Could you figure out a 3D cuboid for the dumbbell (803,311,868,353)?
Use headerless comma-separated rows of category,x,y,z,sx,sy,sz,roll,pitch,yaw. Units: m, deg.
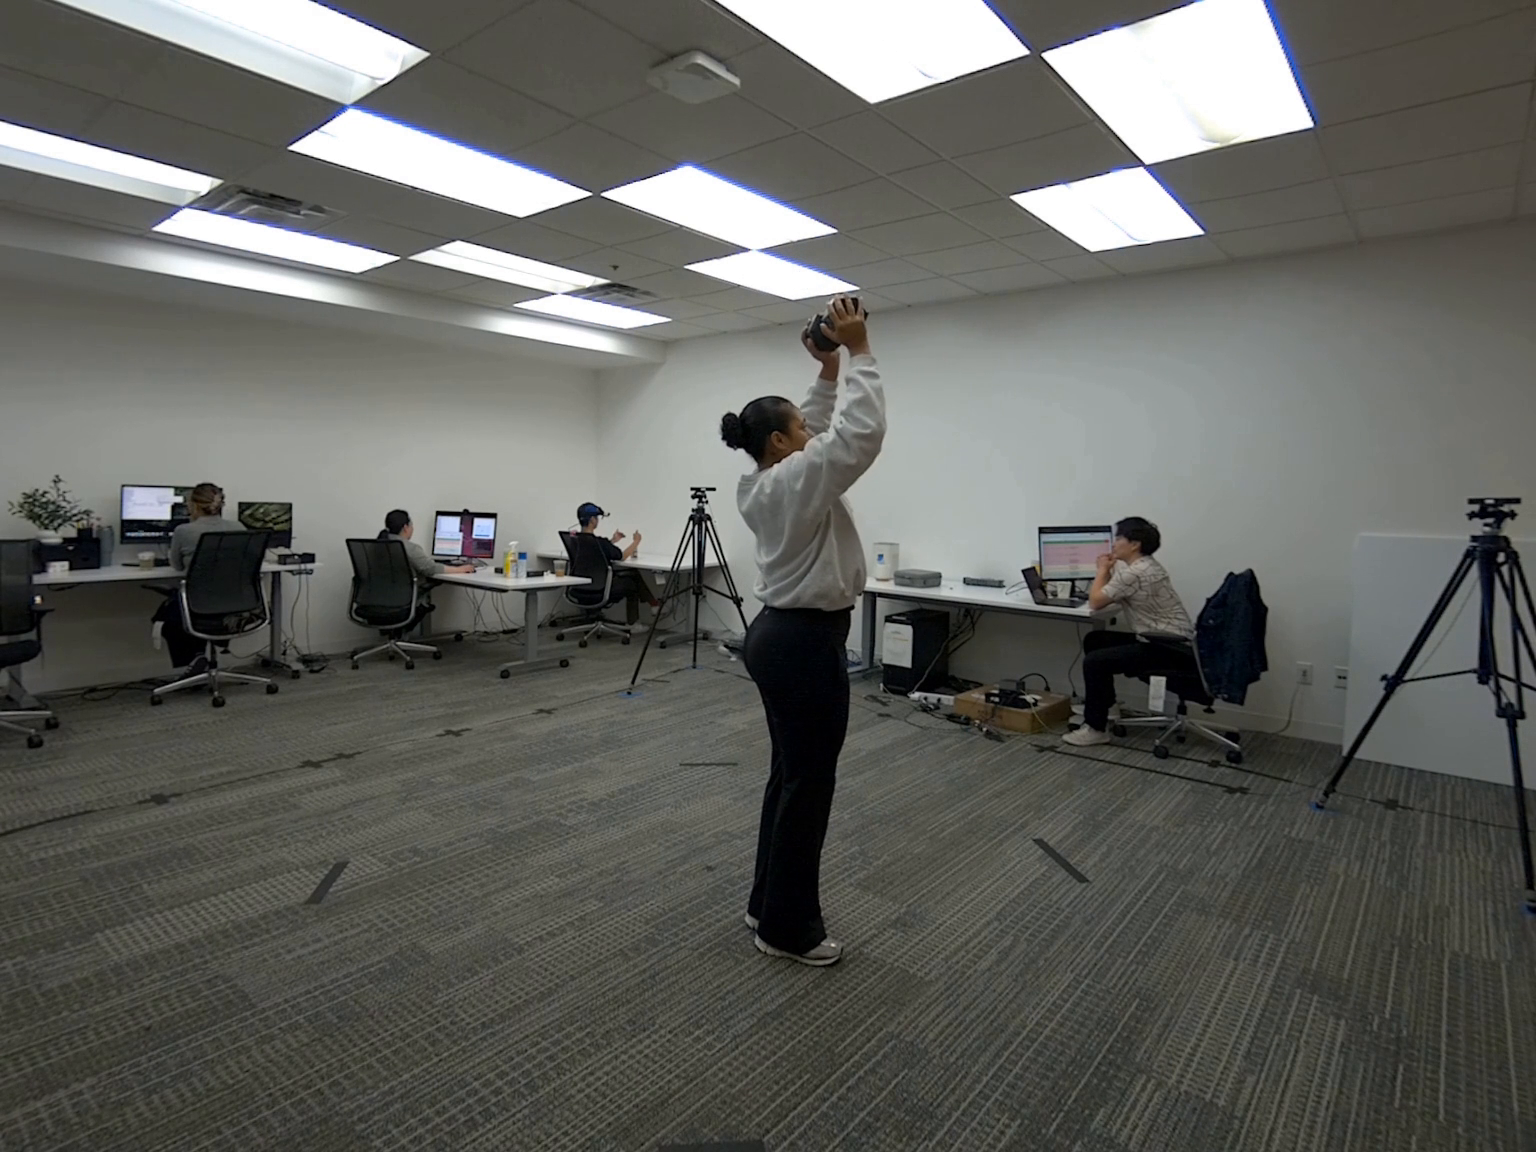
dumbbell,0.200,-0.745,2.526,0.108,0.123,0.296,29,2,-8
